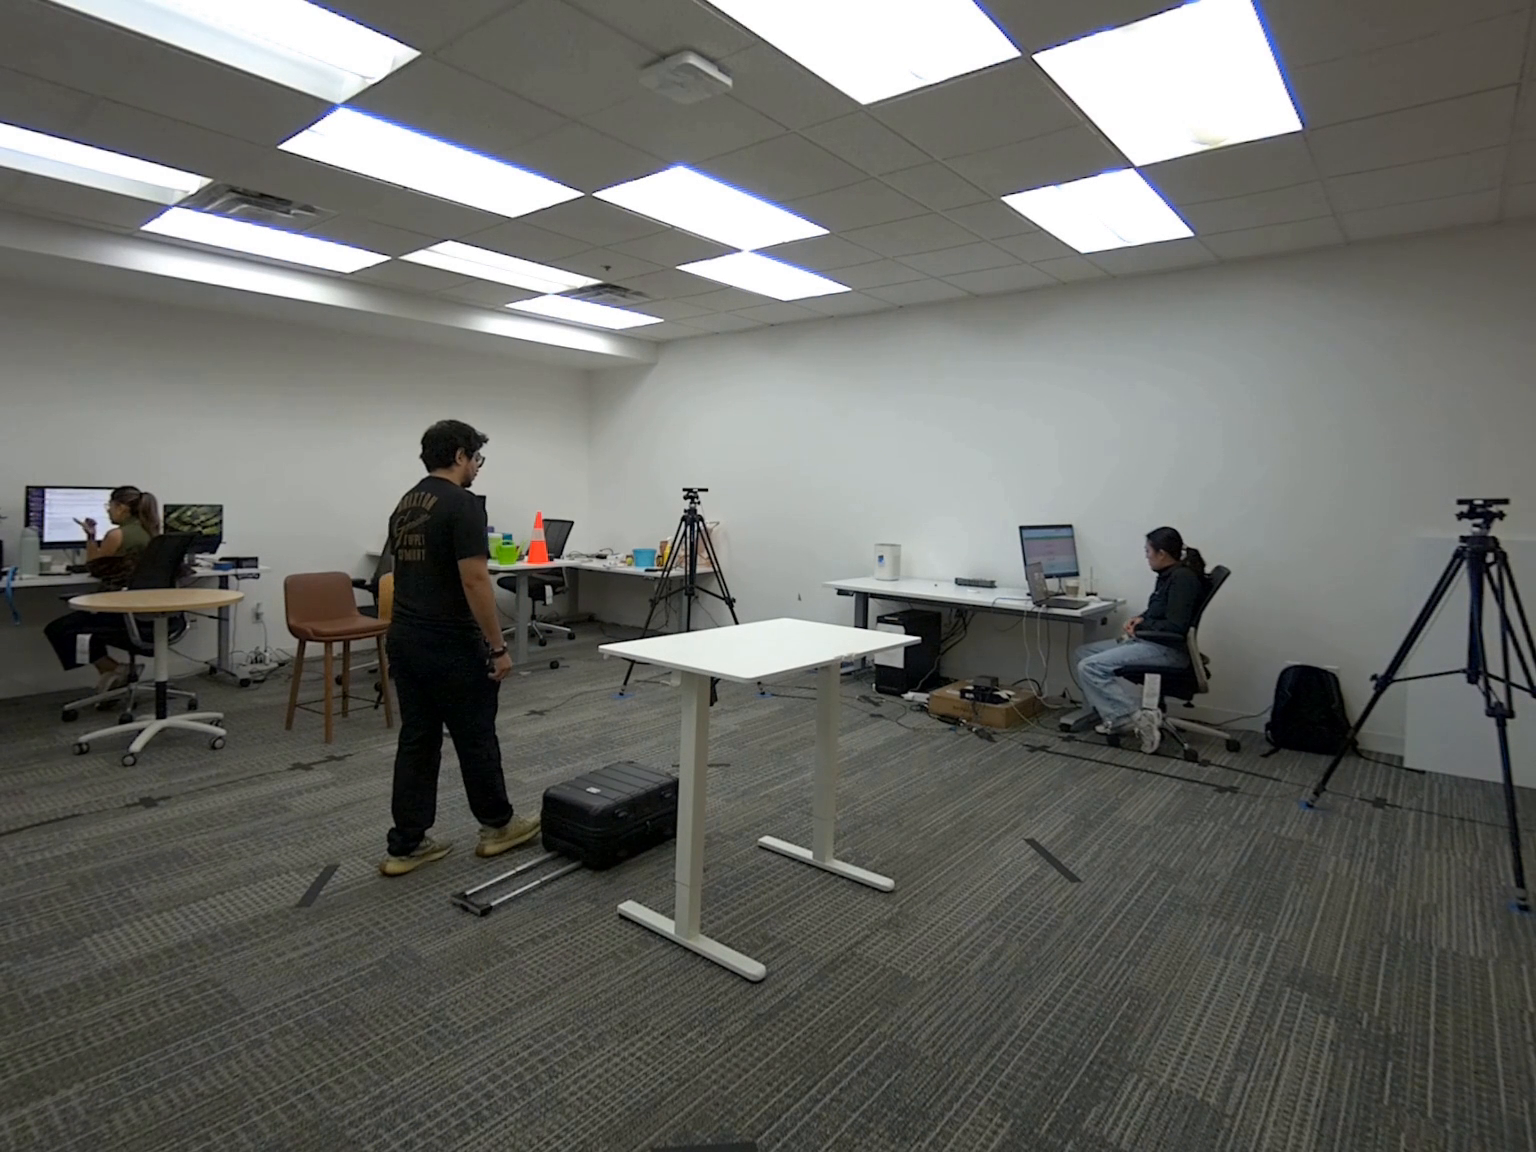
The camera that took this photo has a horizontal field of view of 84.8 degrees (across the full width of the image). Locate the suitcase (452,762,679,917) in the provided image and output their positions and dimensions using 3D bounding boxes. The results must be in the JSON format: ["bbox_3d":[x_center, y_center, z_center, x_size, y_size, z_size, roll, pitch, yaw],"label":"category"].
[{"bbox_3d":[-0.727,0.930,3.165,0.396,0.256,0.951,5,6,34],"label":"suitcase"}]
